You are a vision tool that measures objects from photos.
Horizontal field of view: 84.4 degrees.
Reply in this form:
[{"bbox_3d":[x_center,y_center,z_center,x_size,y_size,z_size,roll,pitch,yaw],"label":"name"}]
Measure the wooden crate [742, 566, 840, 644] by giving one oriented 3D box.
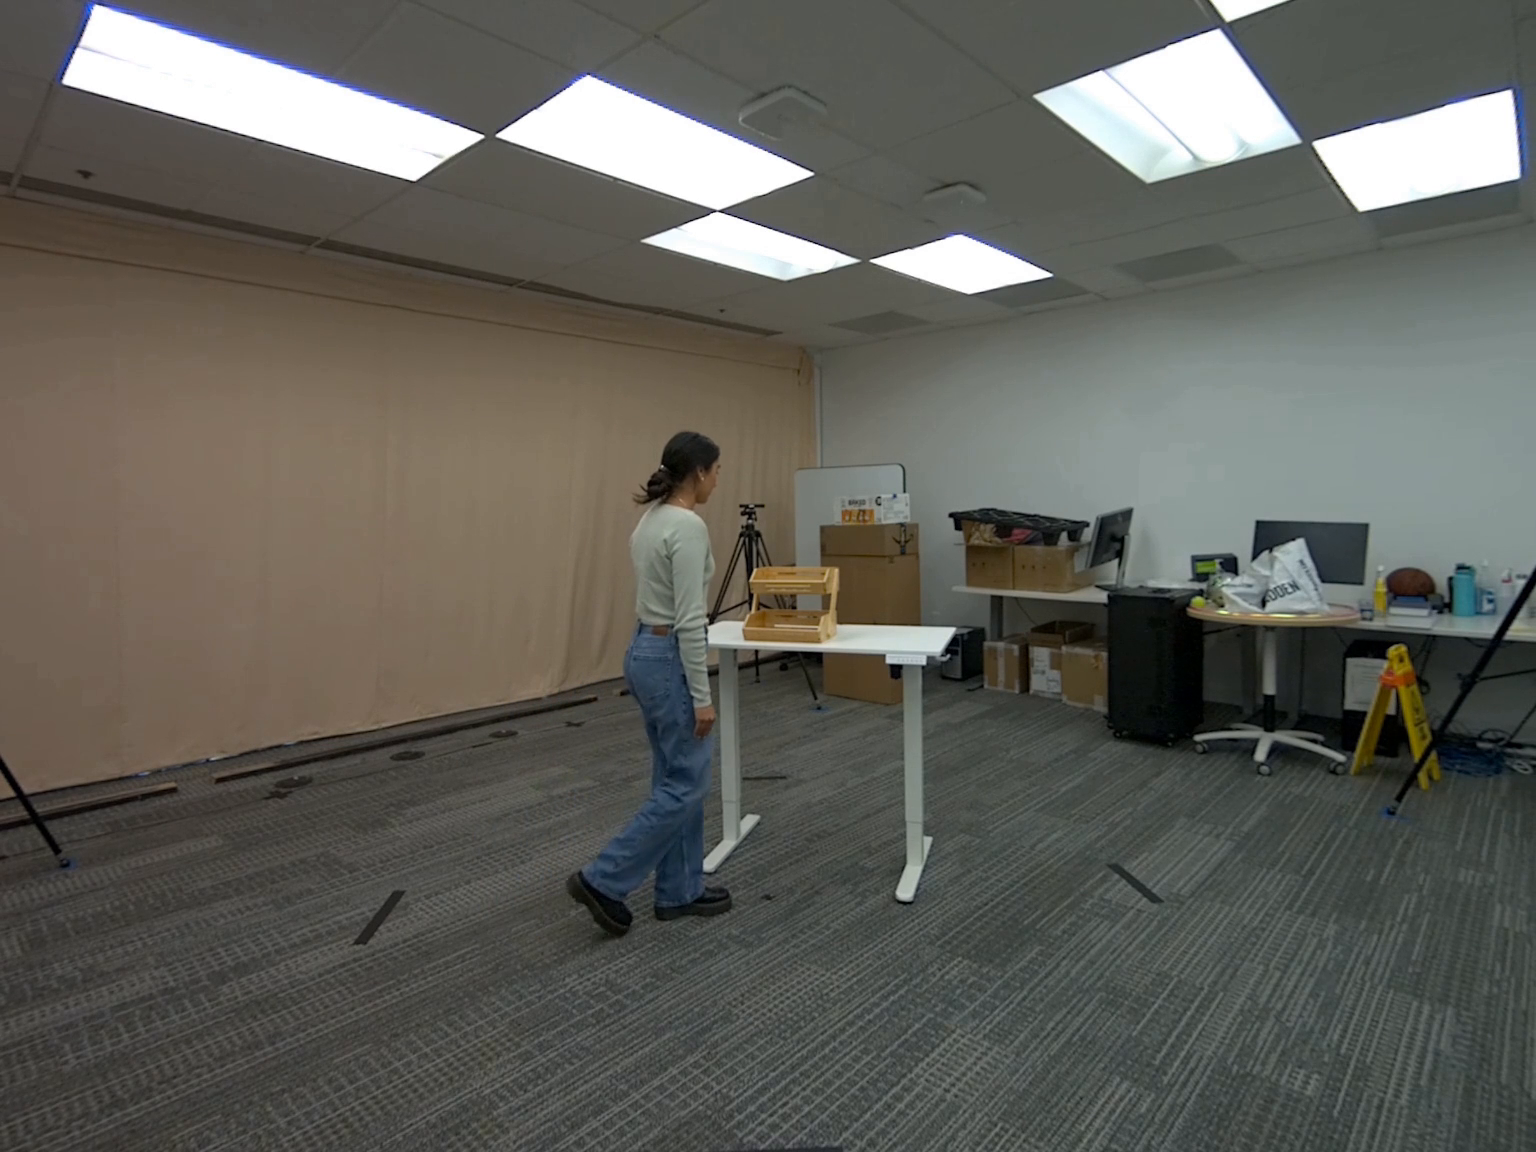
[{"bbox_3d":[0.100,0.102,3.228,0.331,0.273,0.296,0,2,20],"label":"wooden crate"}]
